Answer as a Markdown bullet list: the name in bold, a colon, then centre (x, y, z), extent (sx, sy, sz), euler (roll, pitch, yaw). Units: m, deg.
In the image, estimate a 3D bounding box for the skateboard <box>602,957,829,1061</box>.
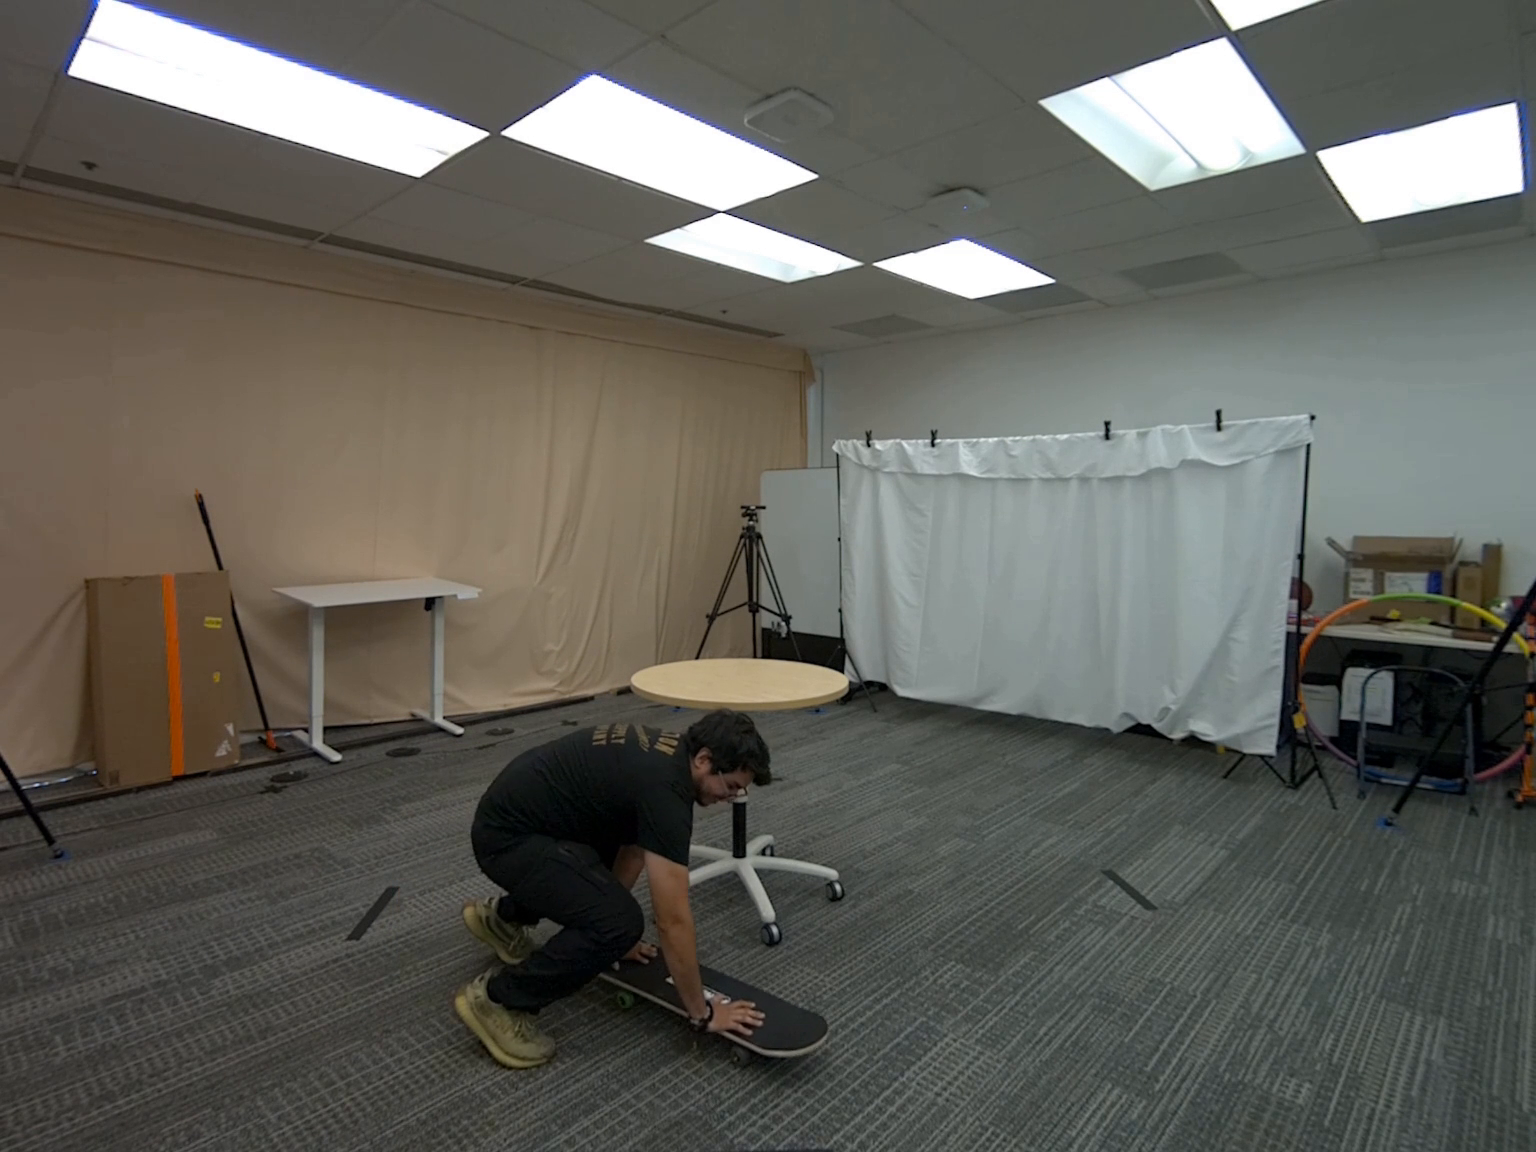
- **skateboard**: centre (-0.185, 1.148, 2.279), extent (0.810, 0.110, 0.188), euler (3, 7, 36)
